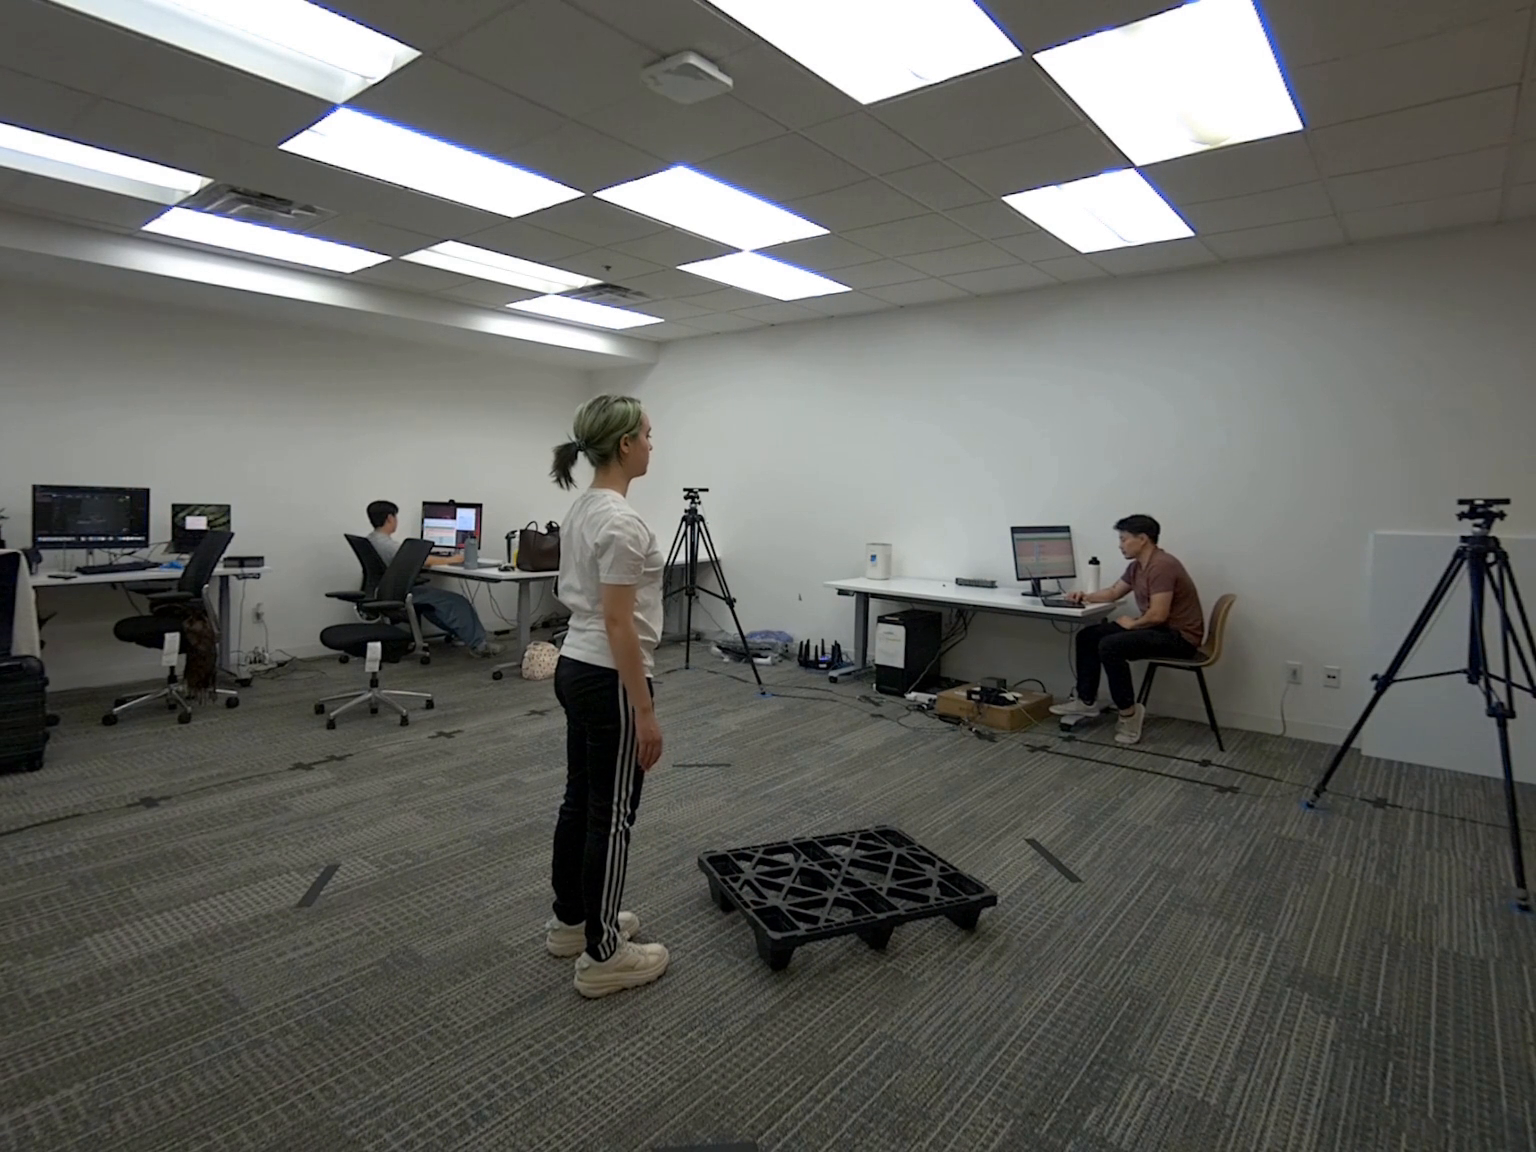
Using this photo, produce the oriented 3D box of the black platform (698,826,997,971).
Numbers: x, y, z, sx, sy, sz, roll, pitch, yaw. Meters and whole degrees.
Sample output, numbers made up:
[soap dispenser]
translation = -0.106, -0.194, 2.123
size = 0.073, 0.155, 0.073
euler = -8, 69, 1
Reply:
[black platform]
translation = 0.235, 1.041, 2.804
size = 0.787, 0.143, 0.622
euler = -1, 7, -24
